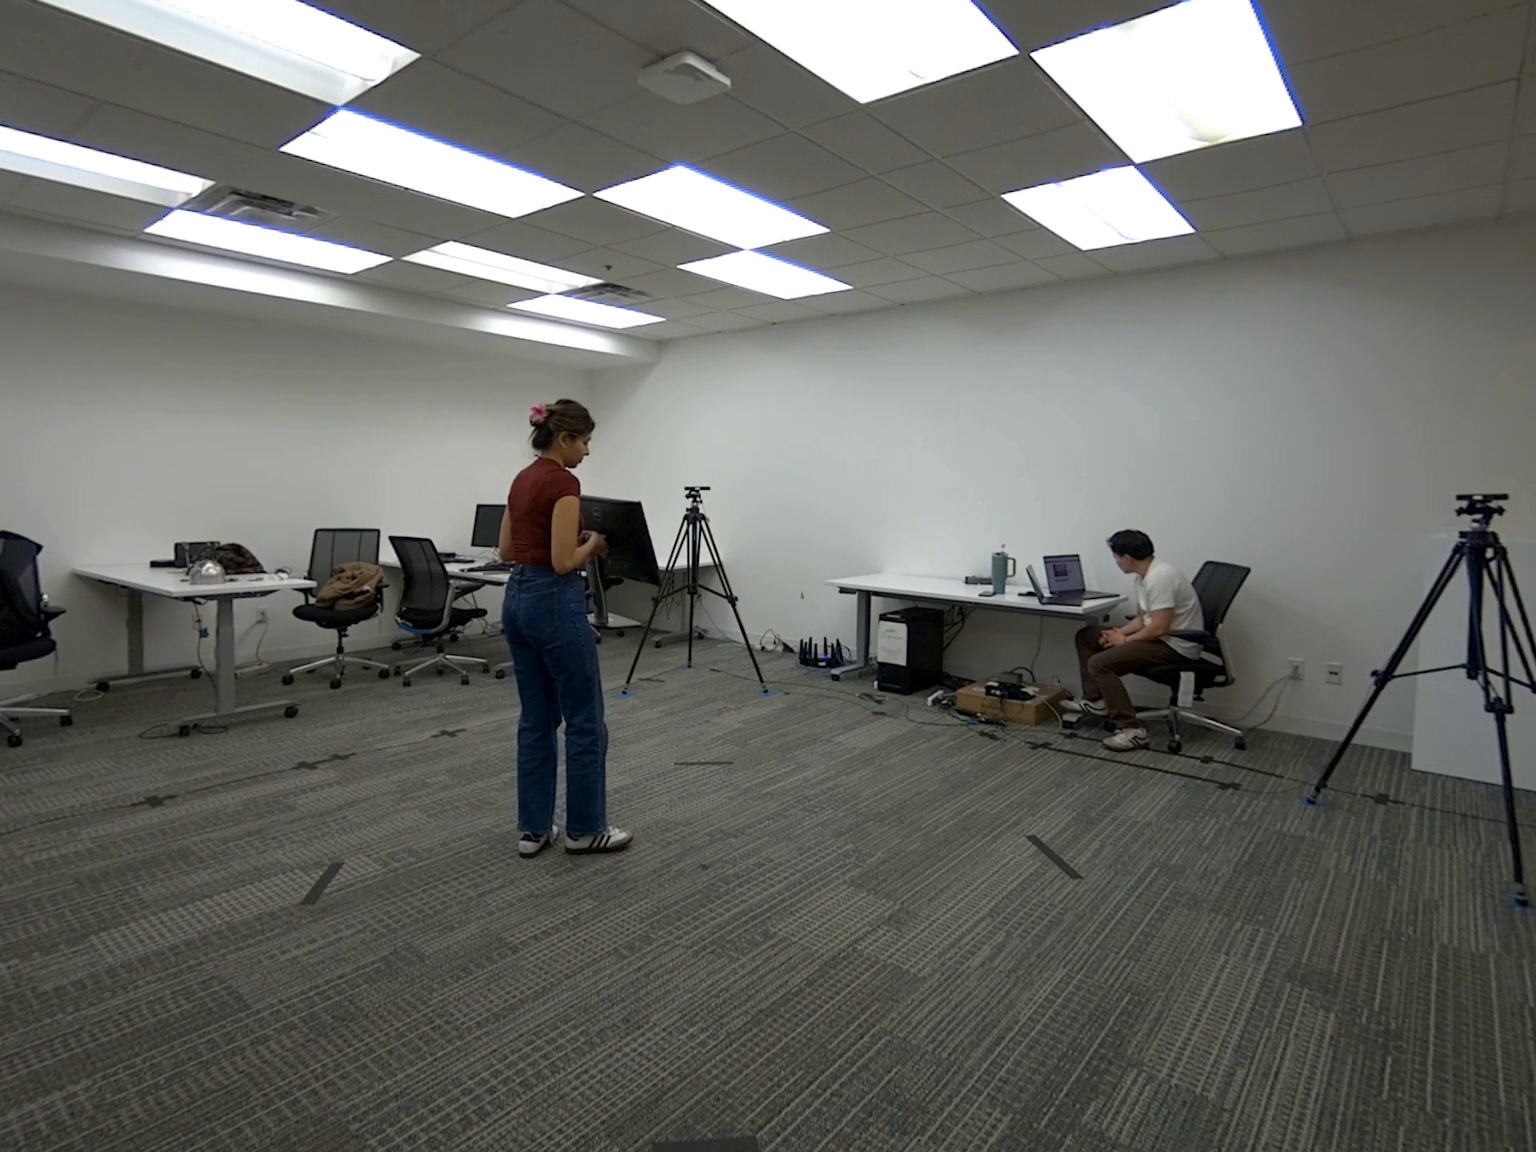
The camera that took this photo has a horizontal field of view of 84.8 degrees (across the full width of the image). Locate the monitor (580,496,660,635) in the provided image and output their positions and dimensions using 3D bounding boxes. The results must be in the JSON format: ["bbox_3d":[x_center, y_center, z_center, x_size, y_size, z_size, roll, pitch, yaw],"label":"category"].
[{"bbox_3d":[-0.669,-0.061,3.424,0.558,0.517,0.182,8,14,43],"label":"monitor"}]
